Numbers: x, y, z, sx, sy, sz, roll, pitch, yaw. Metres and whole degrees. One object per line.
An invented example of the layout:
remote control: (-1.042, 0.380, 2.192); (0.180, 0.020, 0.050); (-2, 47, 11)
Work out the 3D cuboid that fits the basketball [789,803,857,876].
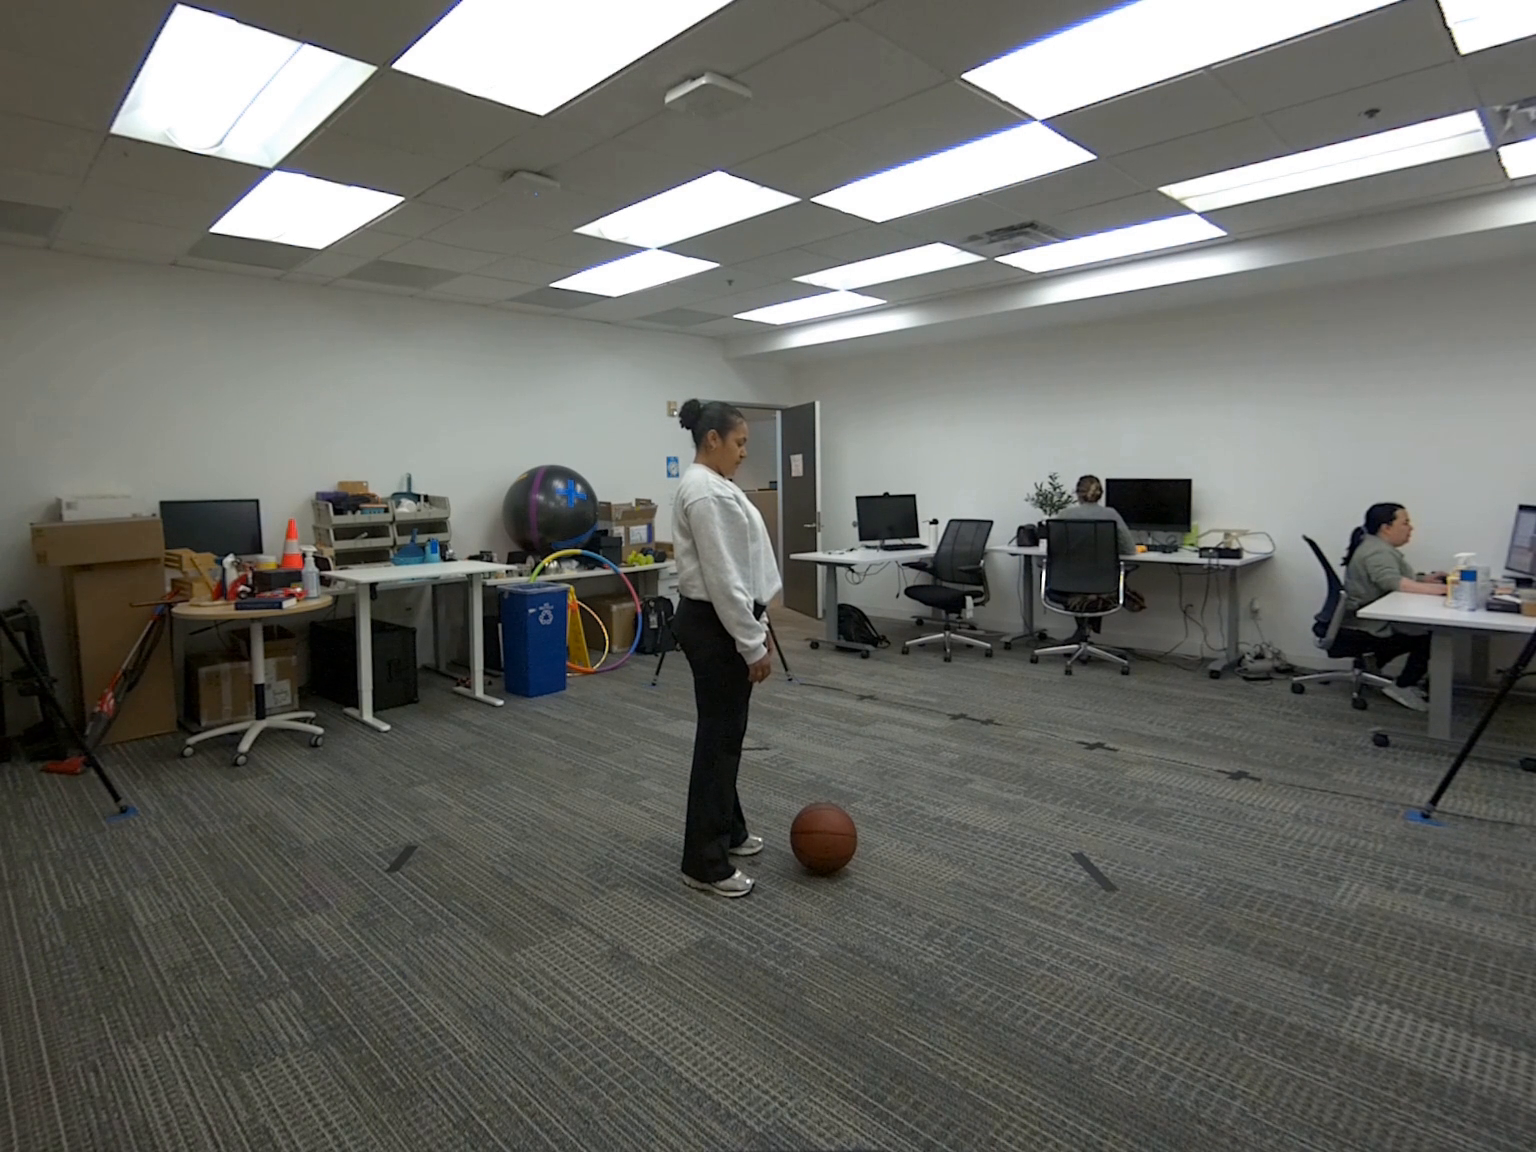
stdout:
basketball: (0.199, 0.924, 3.031); (0.236, 0.235, 0.237); (-1, 5, -2)
